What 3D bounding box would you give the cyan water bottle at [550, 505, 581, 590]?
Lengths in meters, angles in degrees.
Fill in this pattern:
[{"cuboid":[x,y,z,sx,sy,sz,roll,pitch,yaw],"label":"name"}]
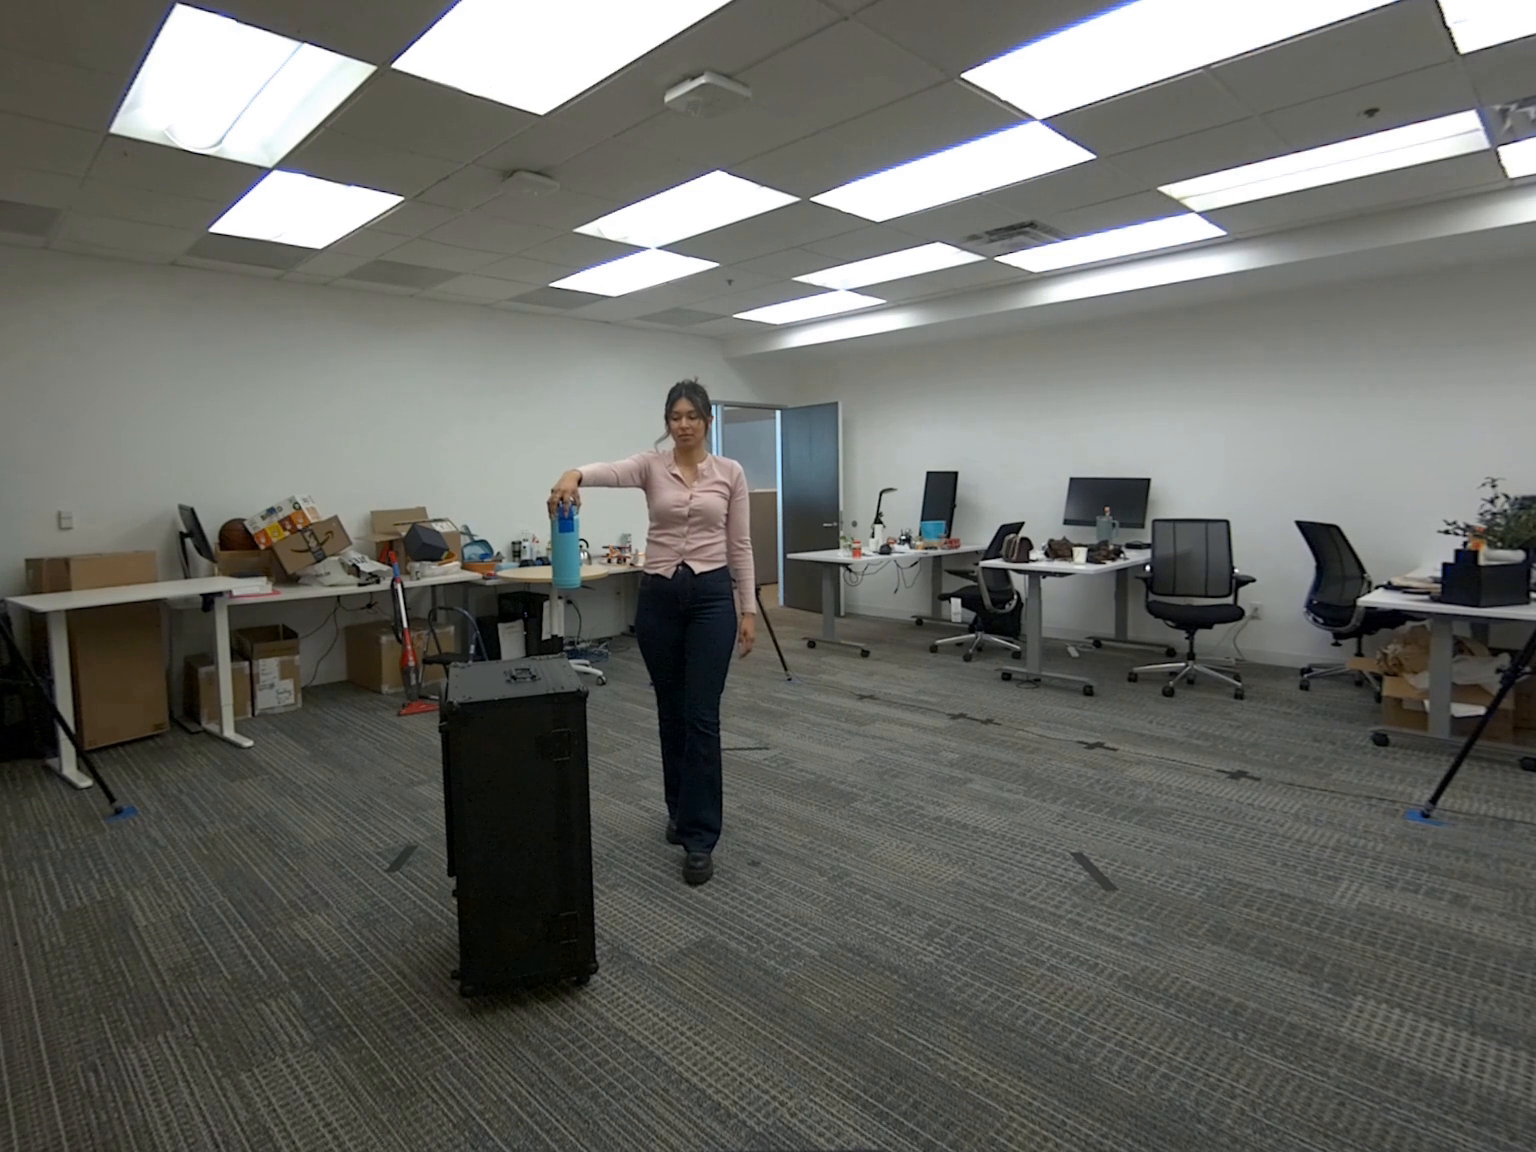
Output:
[{"cuboid":[-0.635,-0.107,2.686,0.092,0.282,0.093,0,4,-2],"label":"cyan water bottle"}]
